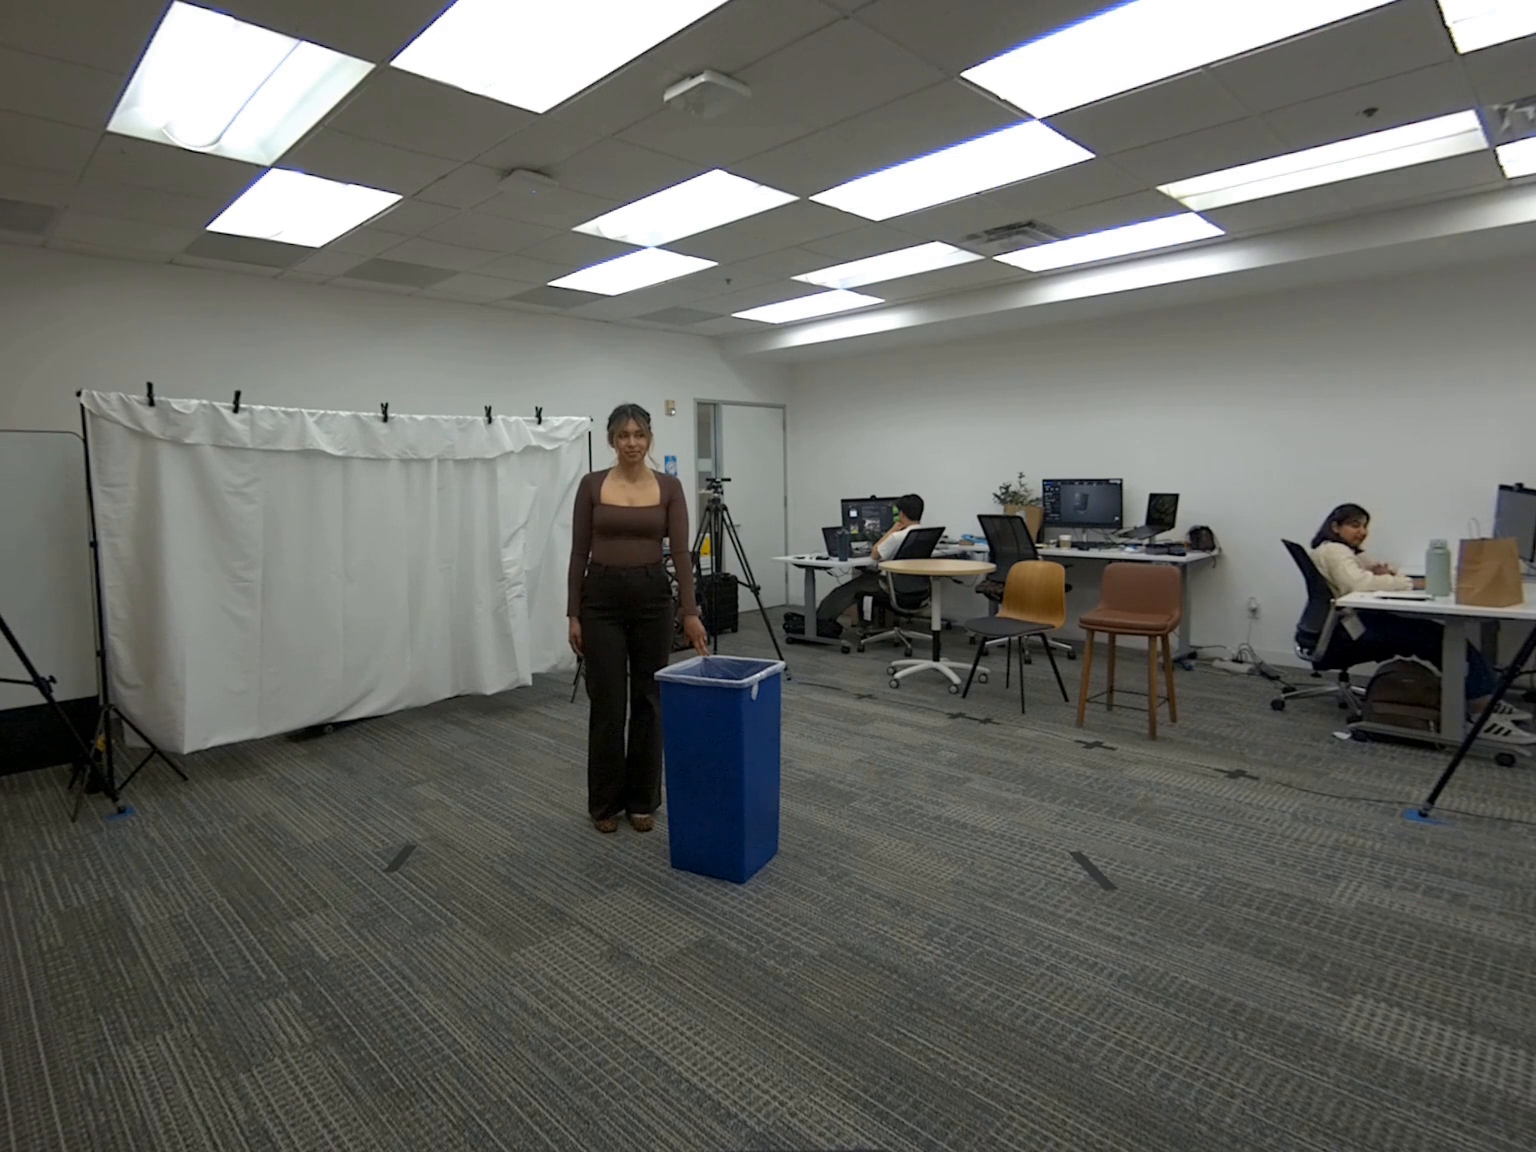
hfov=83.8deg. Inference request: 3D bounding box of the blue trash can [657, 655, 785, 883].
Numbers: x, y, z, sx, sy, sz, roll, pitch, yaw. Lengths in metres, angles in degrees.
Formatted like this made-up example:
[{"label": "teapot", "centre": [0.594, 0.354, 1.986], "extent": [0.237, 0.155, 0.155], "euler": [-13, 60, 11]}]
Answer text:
[{"label": "blue trash can", "centre": [-0.165, 0.683, 3.117], "extent": [0.383, 0.711, 0.370], "euler": [2, 4, 27]}]
